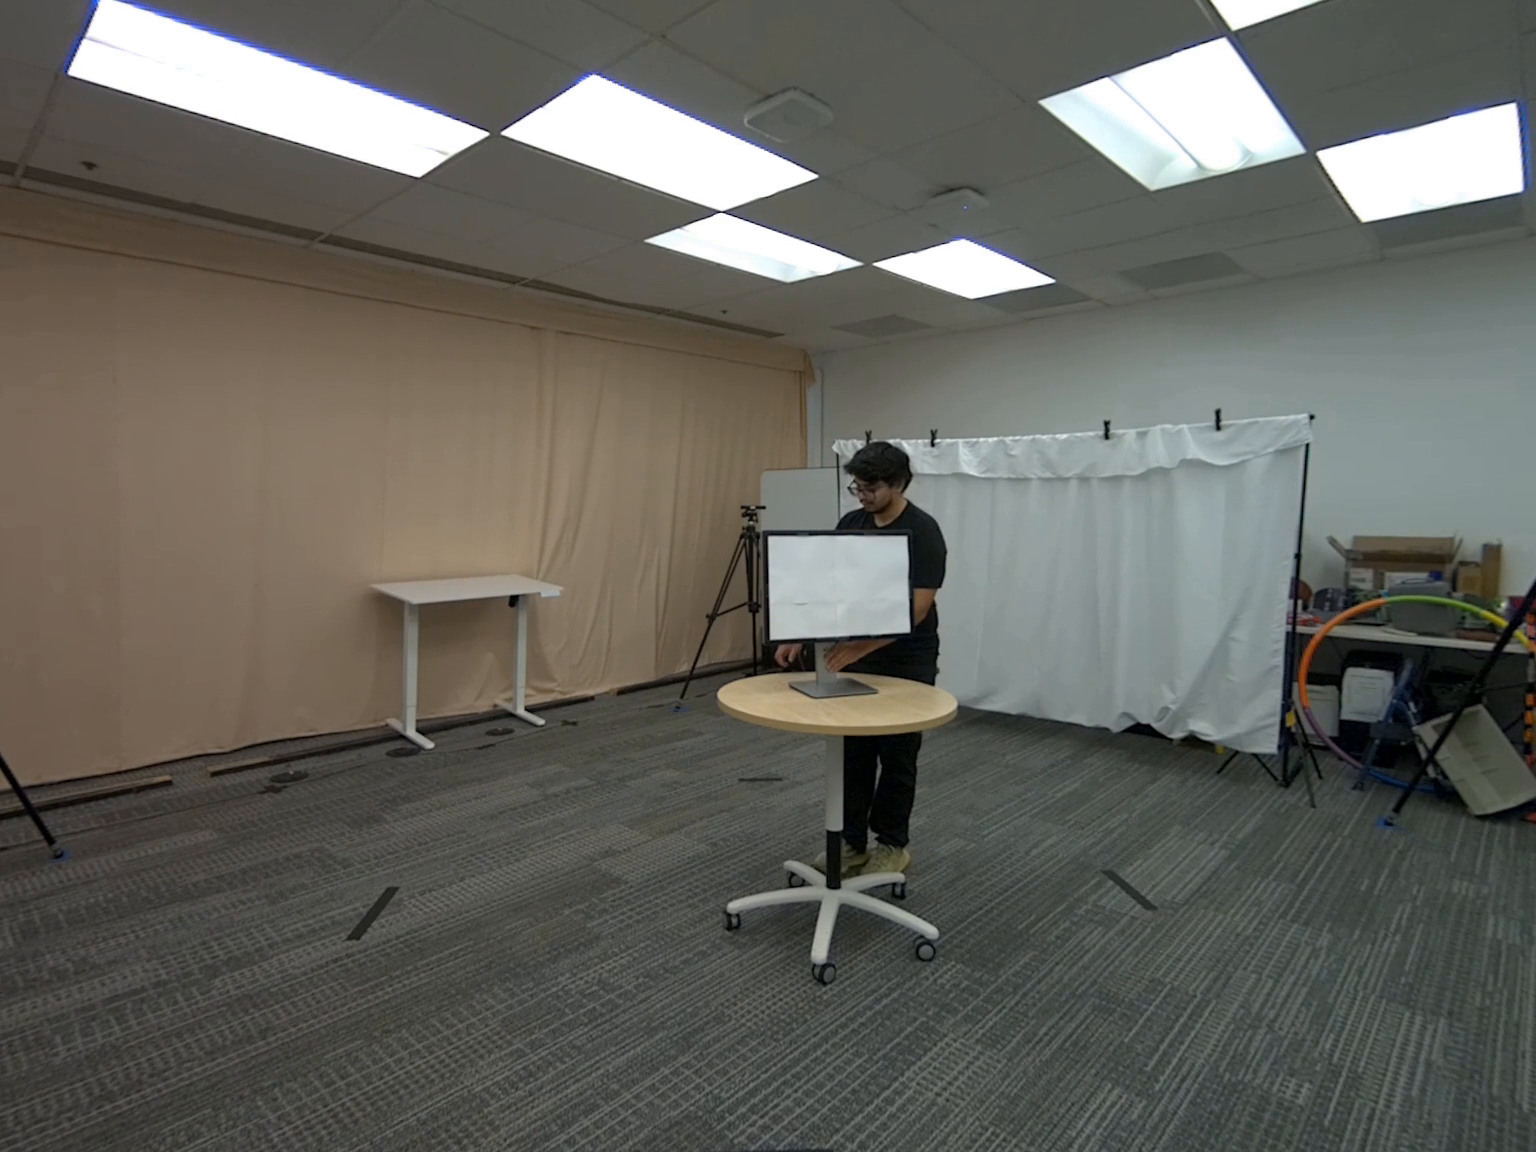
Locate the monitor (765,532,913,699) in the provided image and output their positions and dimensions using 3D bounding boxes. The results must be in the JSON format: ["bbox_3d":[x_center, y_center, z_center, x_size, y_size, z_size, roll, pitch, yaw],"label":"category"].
[{"bbox_3d":[0.212,0.116,2.822,0.553,0.553,0.215,-1,1,-21],"label":"monitor"}]
